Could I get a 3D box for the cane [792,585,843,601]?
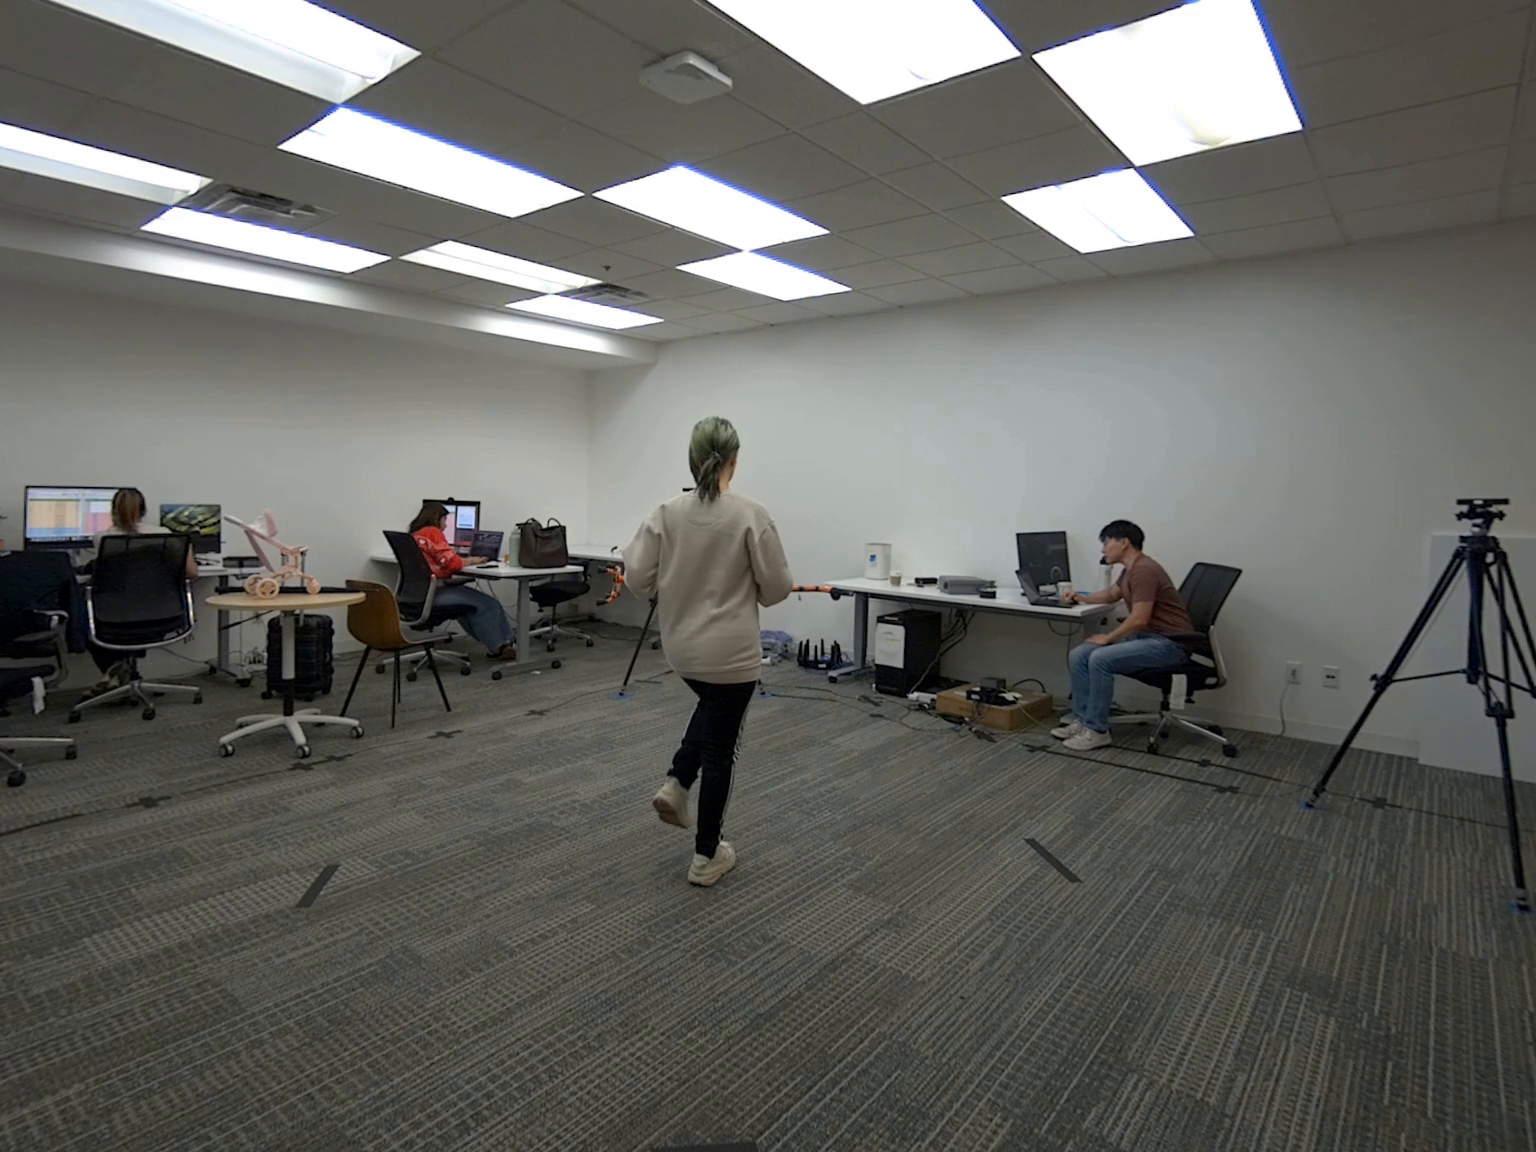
[{"bbox_3d":[-0.193,0.044,3.282,0.911,0.151,0.206,2,4,3],"label":"cane"}]
